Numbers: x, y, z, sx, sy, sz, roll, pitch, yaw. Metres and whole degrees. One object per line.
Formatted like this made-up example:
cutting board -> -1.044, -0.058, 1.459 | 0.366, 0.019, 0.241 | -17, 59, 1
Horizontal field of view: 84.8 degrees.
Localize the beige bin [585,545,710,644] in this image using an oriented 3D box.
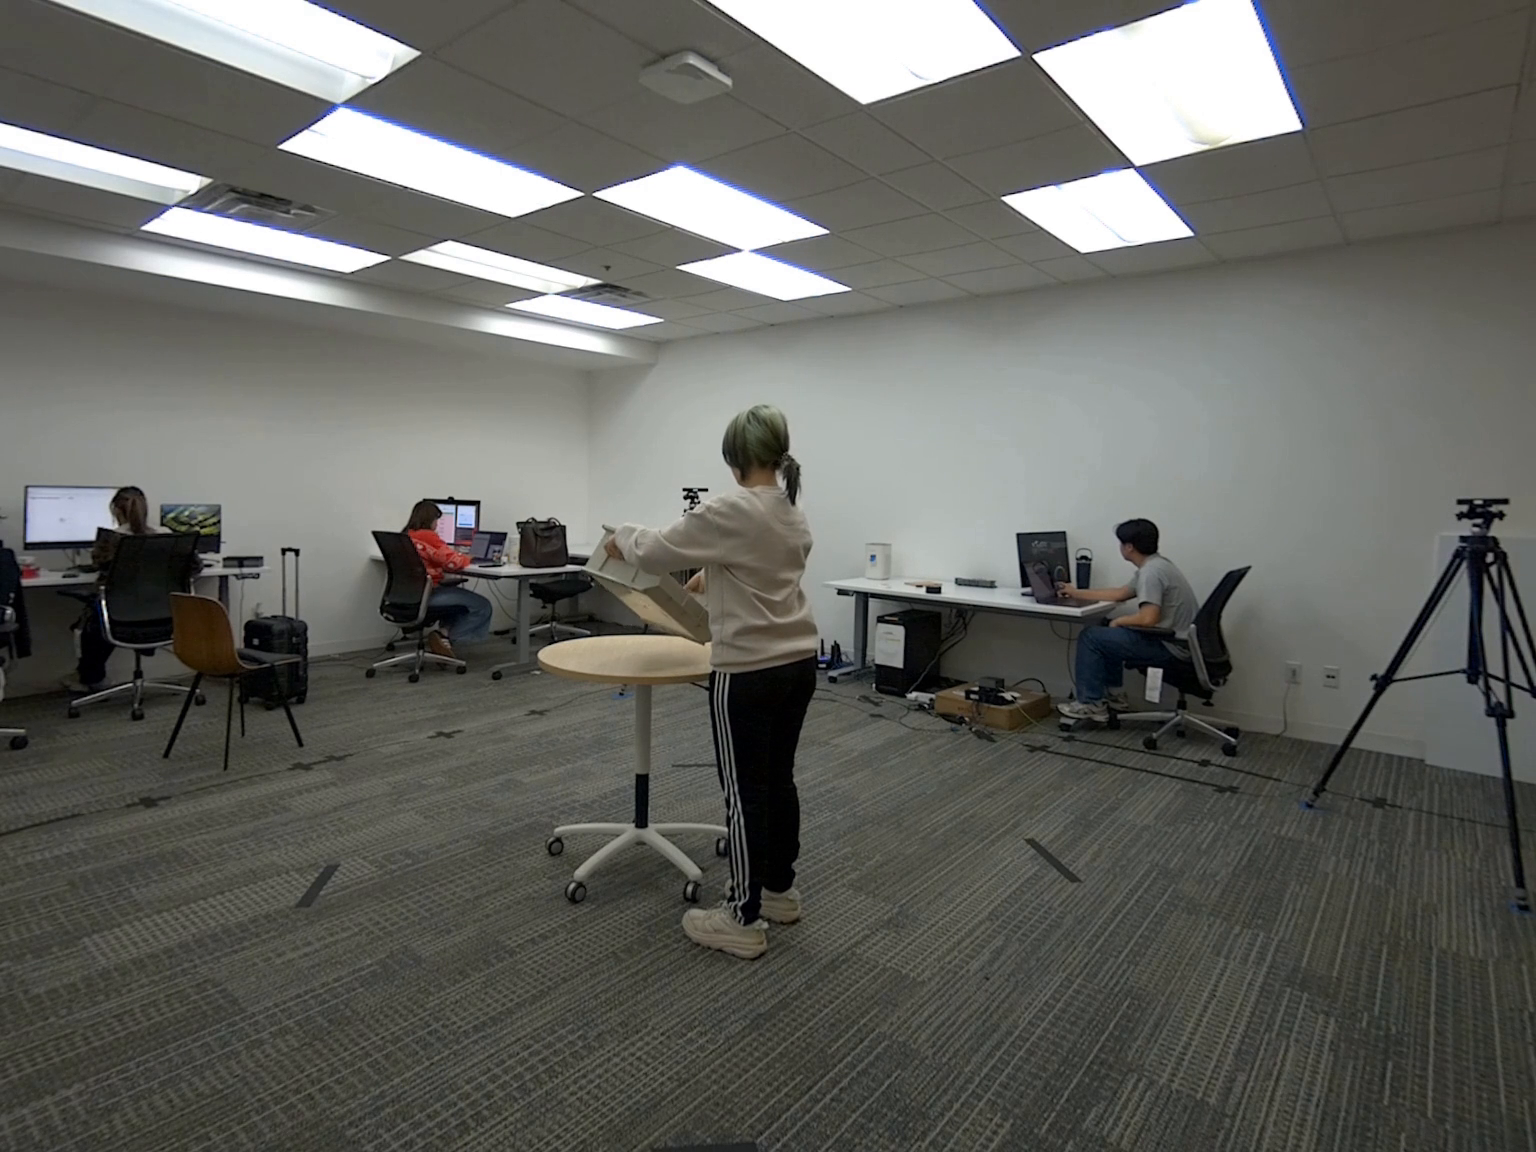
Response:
beige bin -> -0.391, 0.040, 2.967 | 0.392, 0.190, 0.404 | 16, -21, 39
